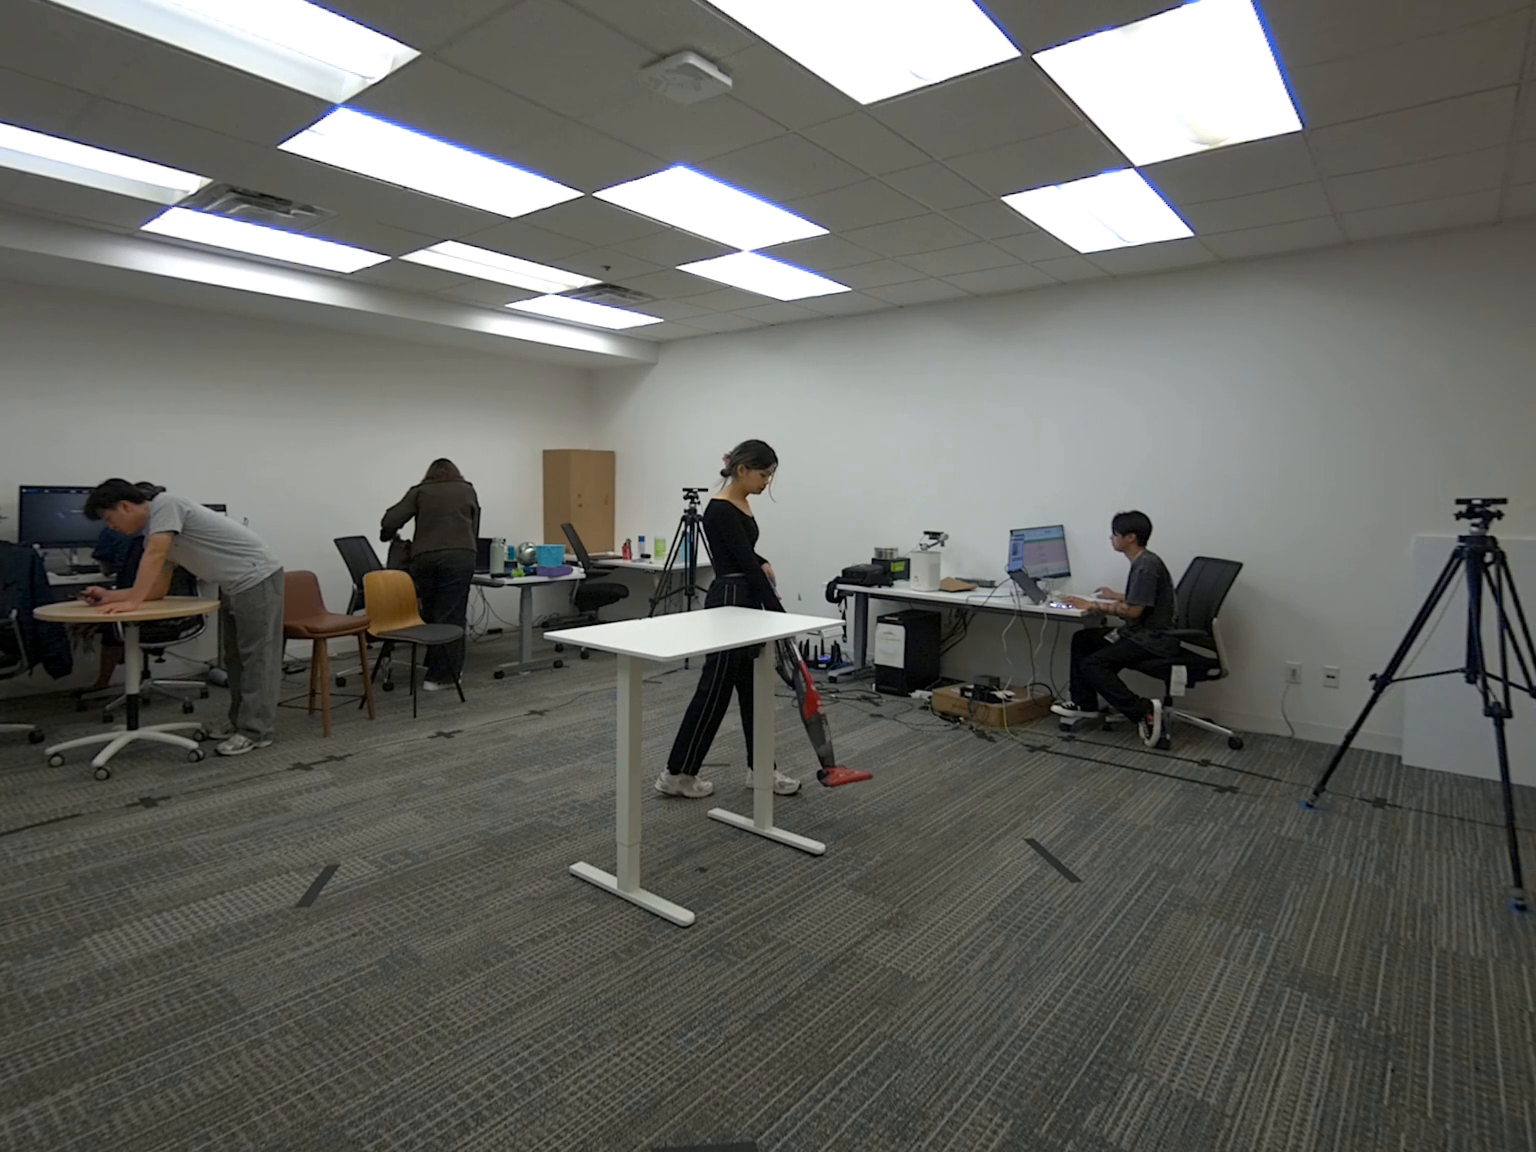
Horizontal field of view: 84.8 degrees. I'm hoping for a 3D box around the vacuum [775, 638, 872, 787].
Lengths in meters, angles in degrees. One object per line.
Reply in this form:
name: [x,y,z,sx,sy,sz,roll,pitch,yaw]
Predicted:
vacuum: [0.134,0.412,3.765,0.243,1.081,0.145,9,-38,-45]
